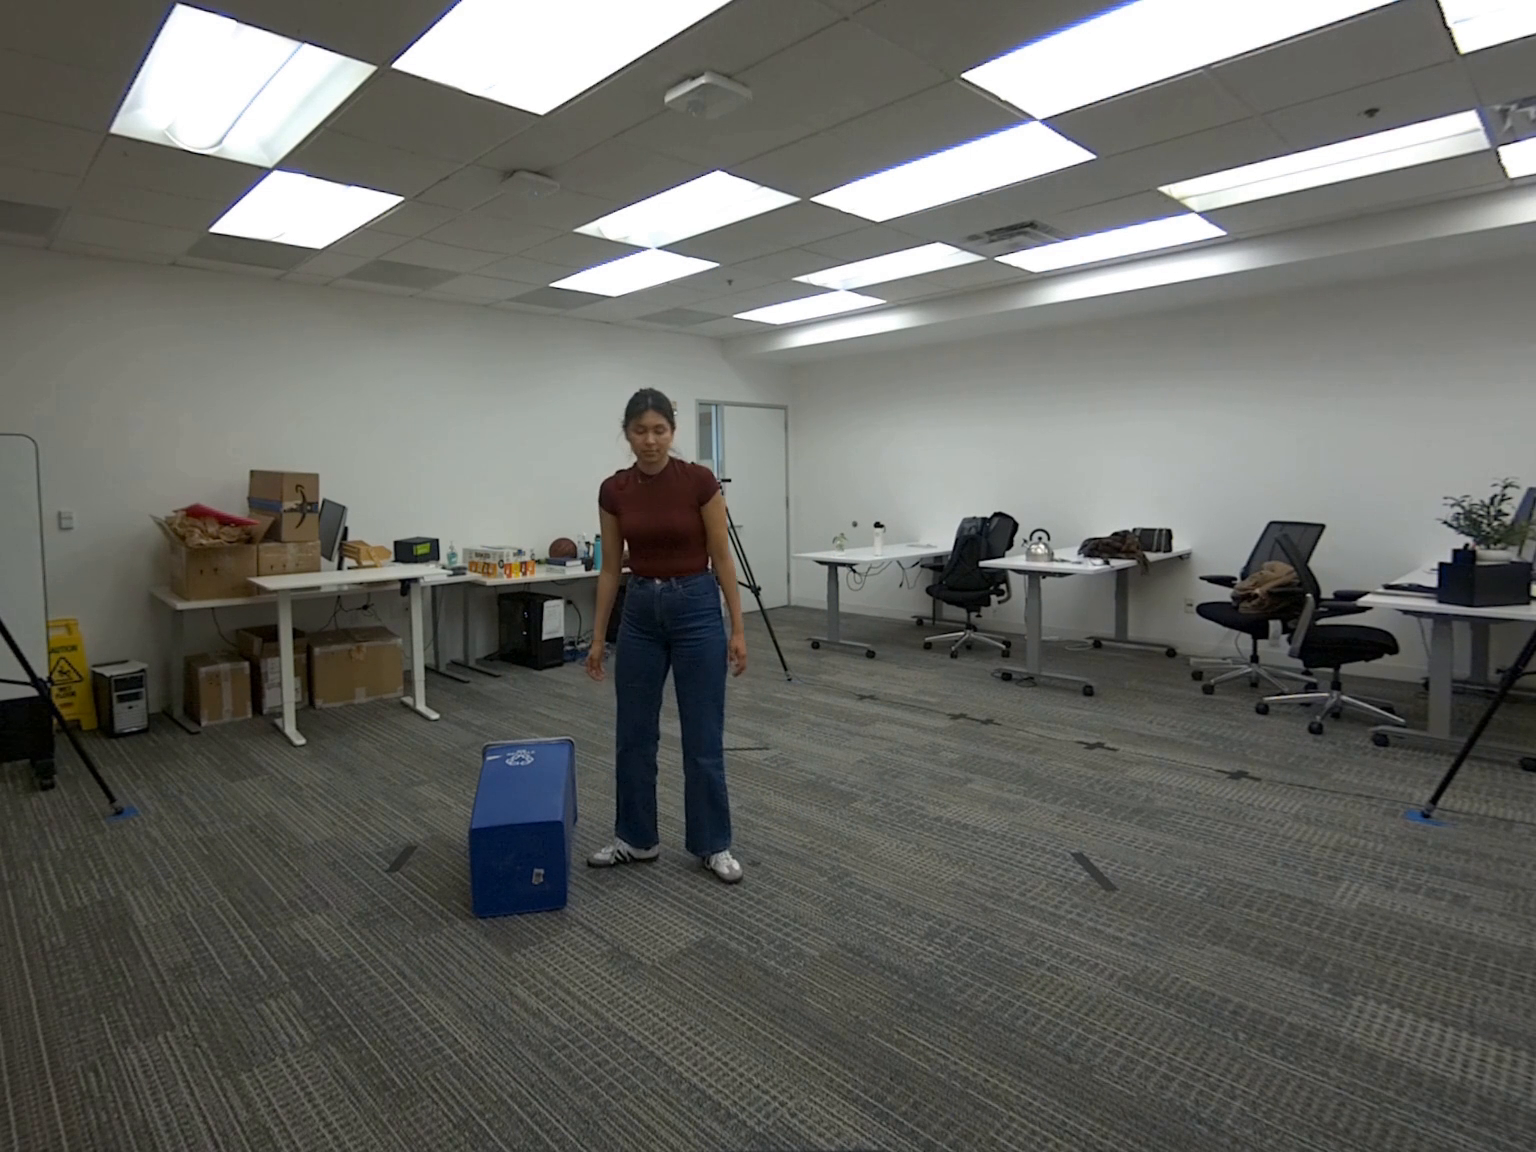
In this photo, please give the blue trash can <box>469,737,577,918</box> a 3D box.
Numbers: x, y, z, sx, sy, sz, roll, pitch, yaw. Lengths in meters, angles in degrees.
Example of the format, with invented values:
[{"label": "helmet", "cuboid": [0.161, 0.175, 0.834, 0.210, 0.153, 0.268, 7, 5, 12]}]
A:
[{"label": "blue trash can", "cuboid": [-0.877, 0.893, 3.105, 0.370, 0.375, 0.726, -2, 8, -12]}]
